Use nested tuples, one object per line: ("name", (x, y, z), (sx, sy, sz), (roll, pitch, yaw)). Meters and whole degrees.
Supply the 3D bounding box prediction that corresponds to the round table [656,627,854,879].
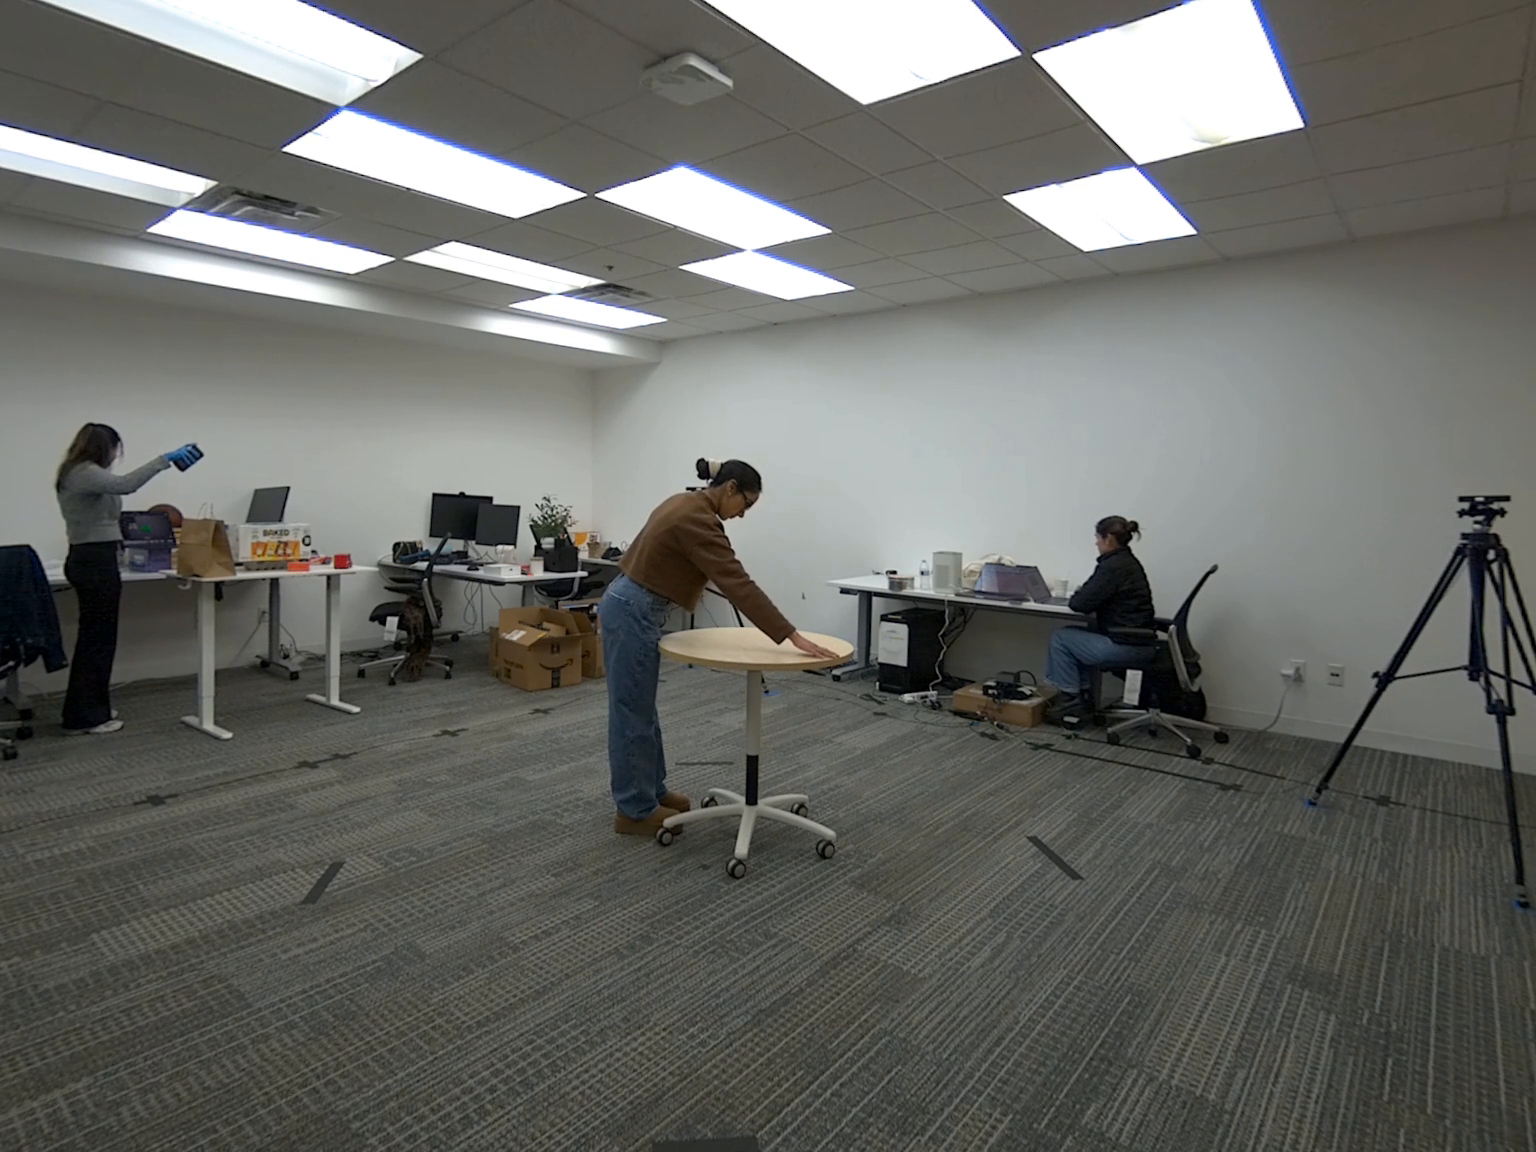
("round table", (-0.065, 0.656, 3.363), (0.763, 0.791, 0.768), (1, 4, -2))
